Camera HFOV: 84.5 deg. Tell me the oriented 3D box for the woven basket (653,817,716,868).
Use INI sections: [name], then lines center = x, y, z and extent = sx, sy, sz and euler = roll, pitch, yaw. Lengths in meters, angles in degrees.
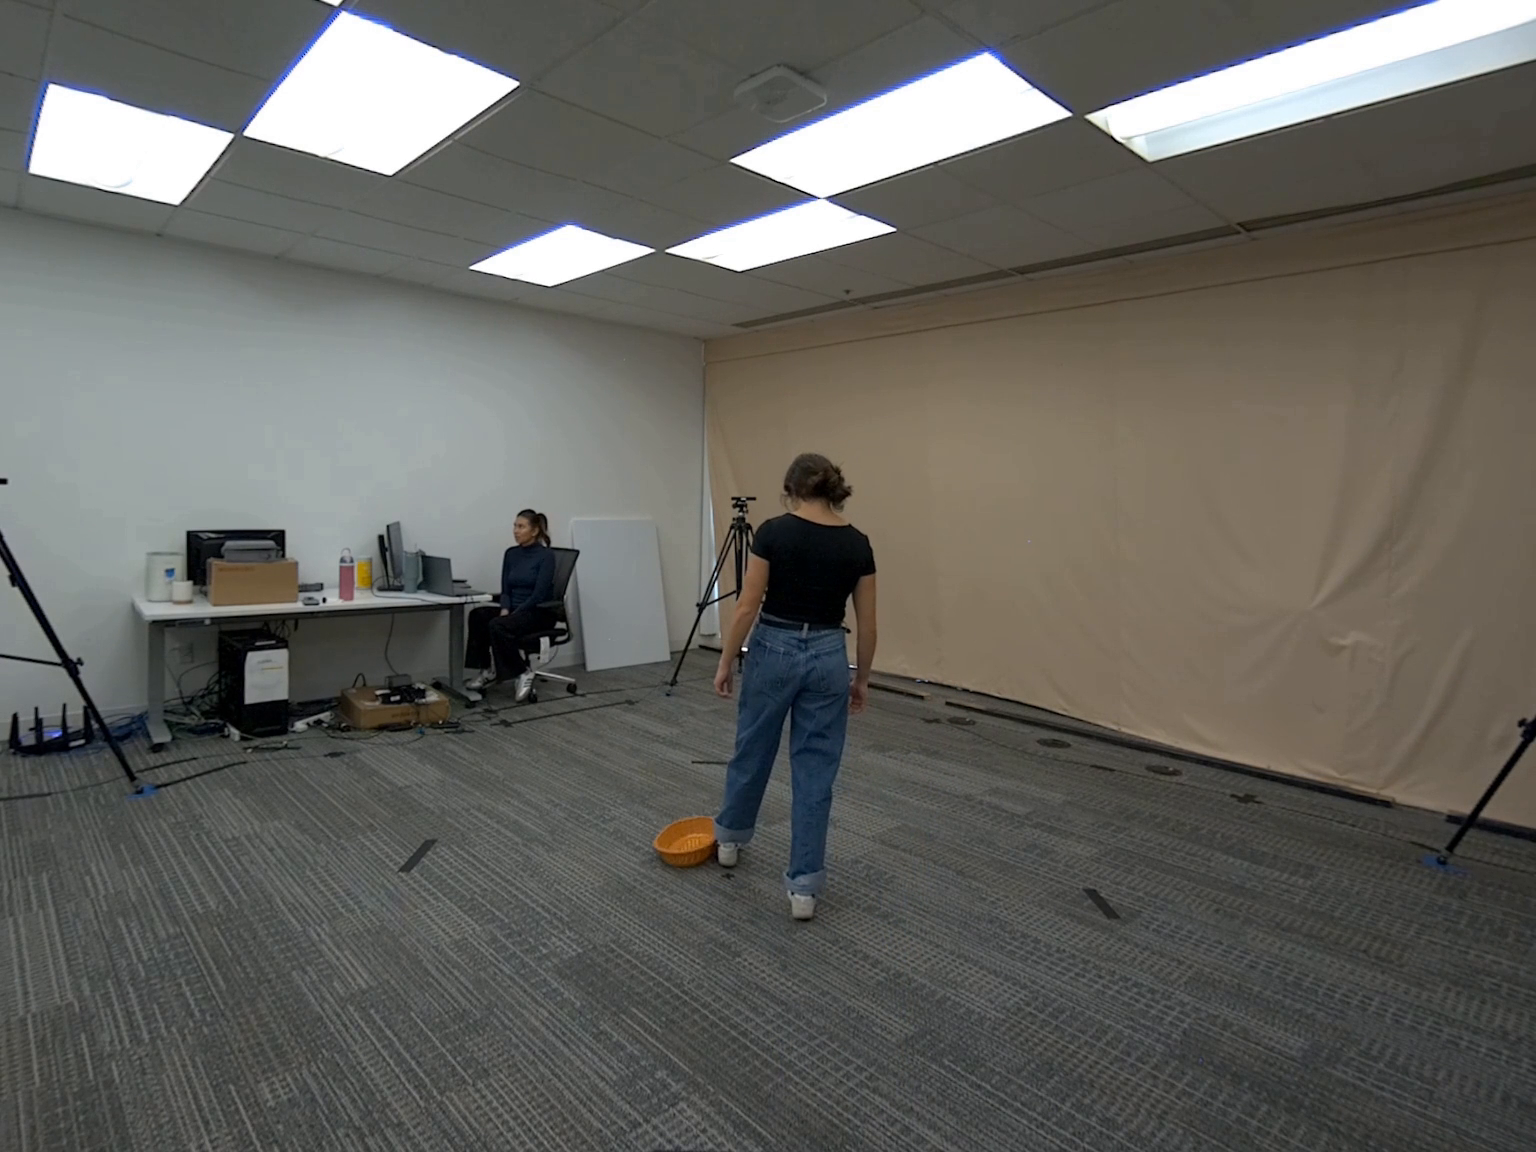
[woven basket]
center = -0.313, 1.036, 3.289
extent = 0.256, 0.073, 0.346
euler = -4, 6, 19
